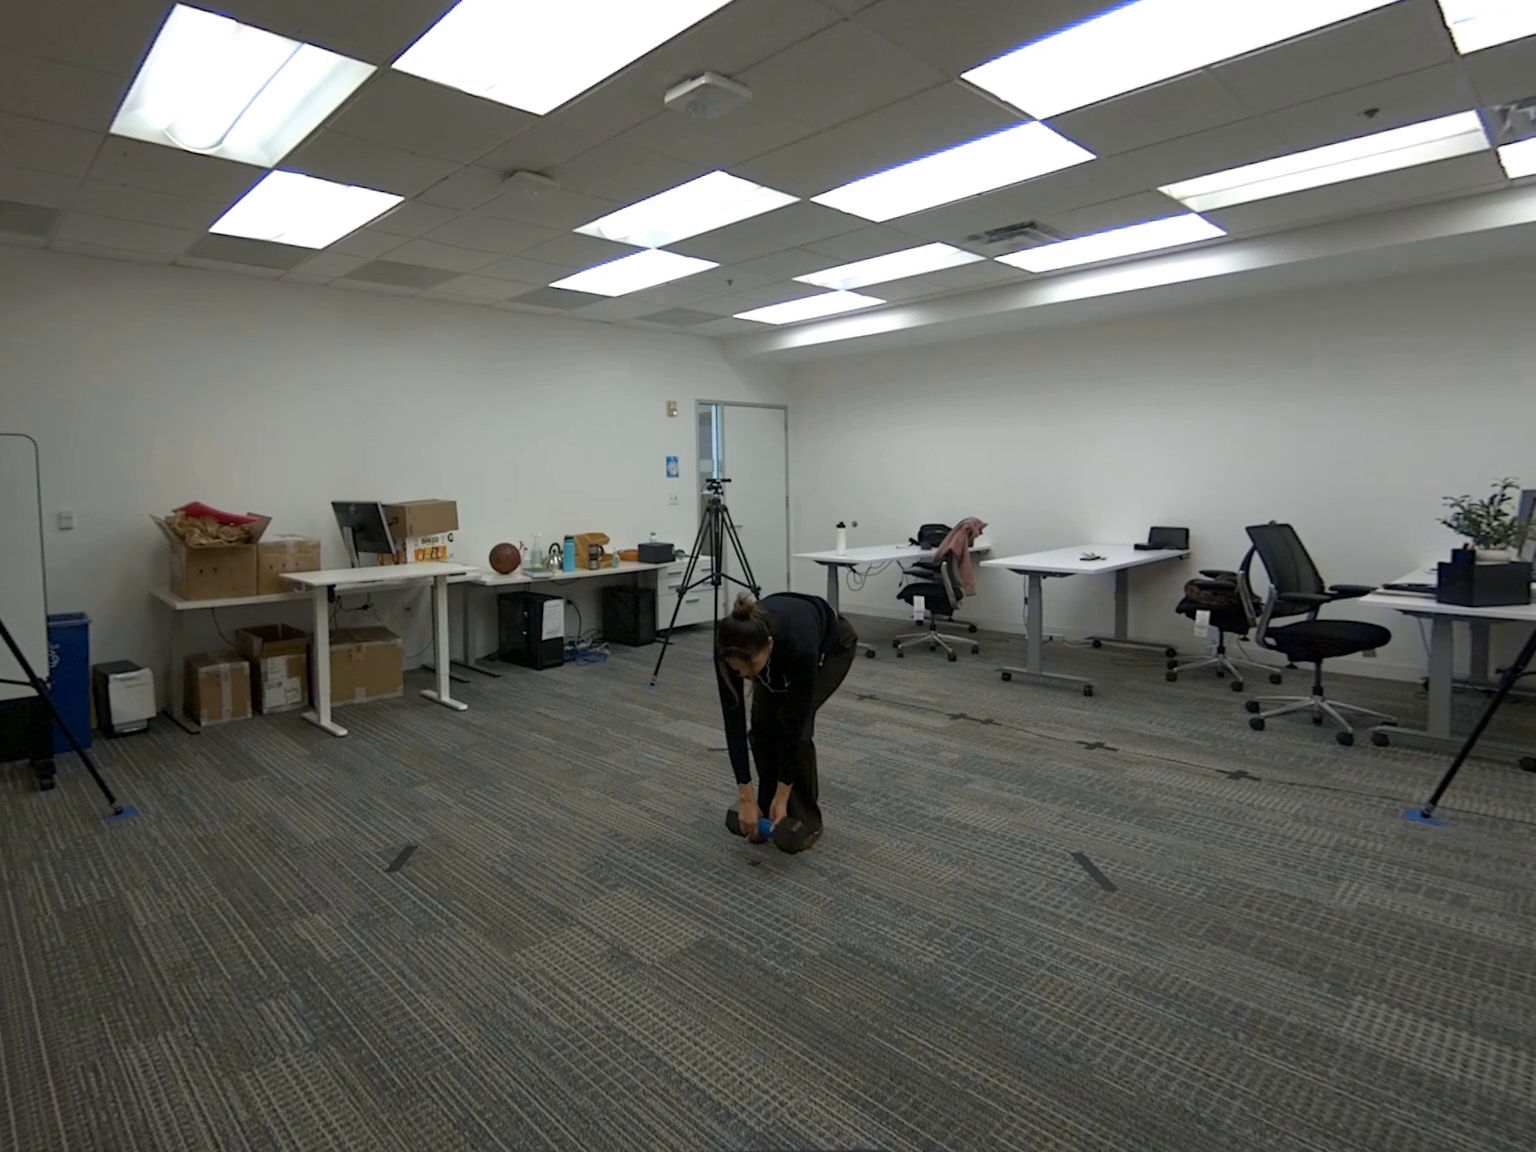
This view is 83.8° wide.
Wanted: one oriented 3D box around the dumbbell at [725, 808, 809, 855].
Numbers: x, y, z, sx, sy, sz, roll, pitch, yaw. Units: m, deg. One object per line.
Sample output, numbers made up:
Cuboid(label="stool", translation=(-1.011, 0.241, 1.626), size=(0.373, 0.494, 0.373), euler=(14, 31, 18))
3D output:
Cuboid(label="dumbbell", translation=(-0.006, 0.920, 3.117), size=(0.302, 0.107, 0.121), euler=(6, 21, 36))
